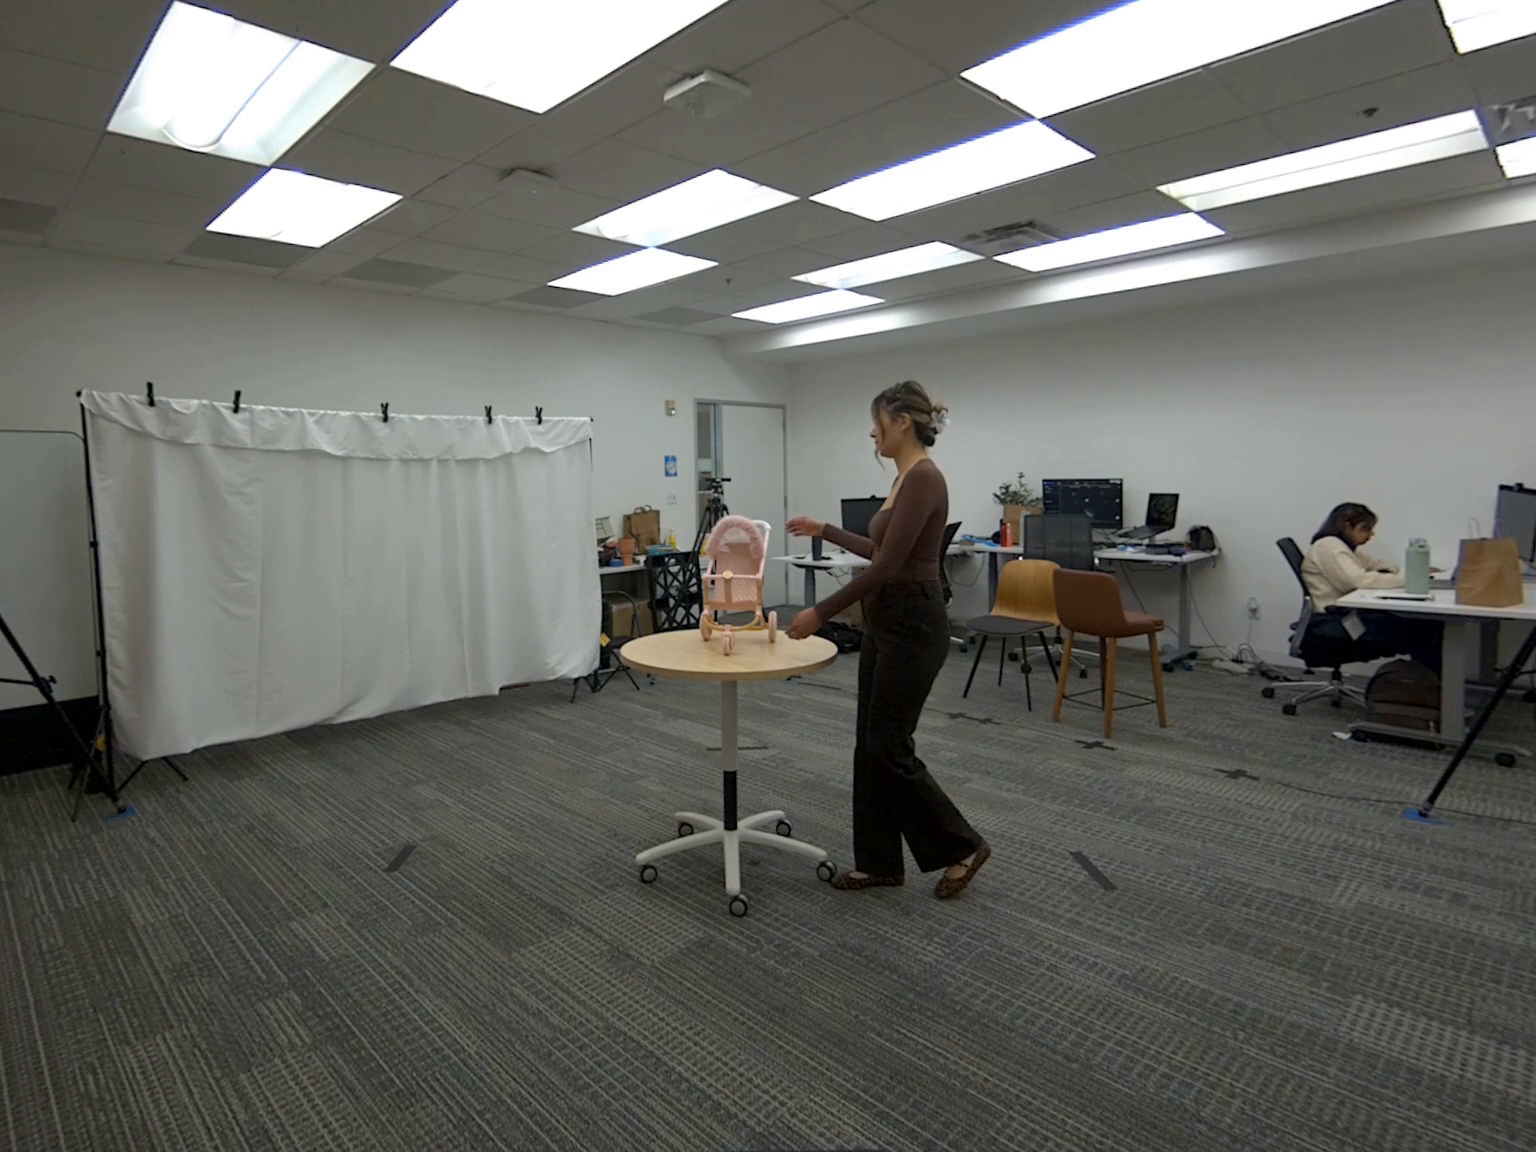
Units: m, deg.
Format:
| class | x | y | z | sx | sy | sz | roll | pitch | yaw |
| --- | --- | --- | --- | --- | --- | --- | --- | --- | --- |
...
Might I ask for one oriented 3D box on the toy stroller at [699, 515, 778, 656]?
| class | x | y | z | sx | sy | sz | roll | pitch | yaw |
| --- | --- | --- | --- | --- | --- | --- | --- | --- | --- |
| toy stroller | -0.115 | 0.023 | 3.075 | 0.285 | 0.540 | 0.333 | 0 | -11 | 13 |
